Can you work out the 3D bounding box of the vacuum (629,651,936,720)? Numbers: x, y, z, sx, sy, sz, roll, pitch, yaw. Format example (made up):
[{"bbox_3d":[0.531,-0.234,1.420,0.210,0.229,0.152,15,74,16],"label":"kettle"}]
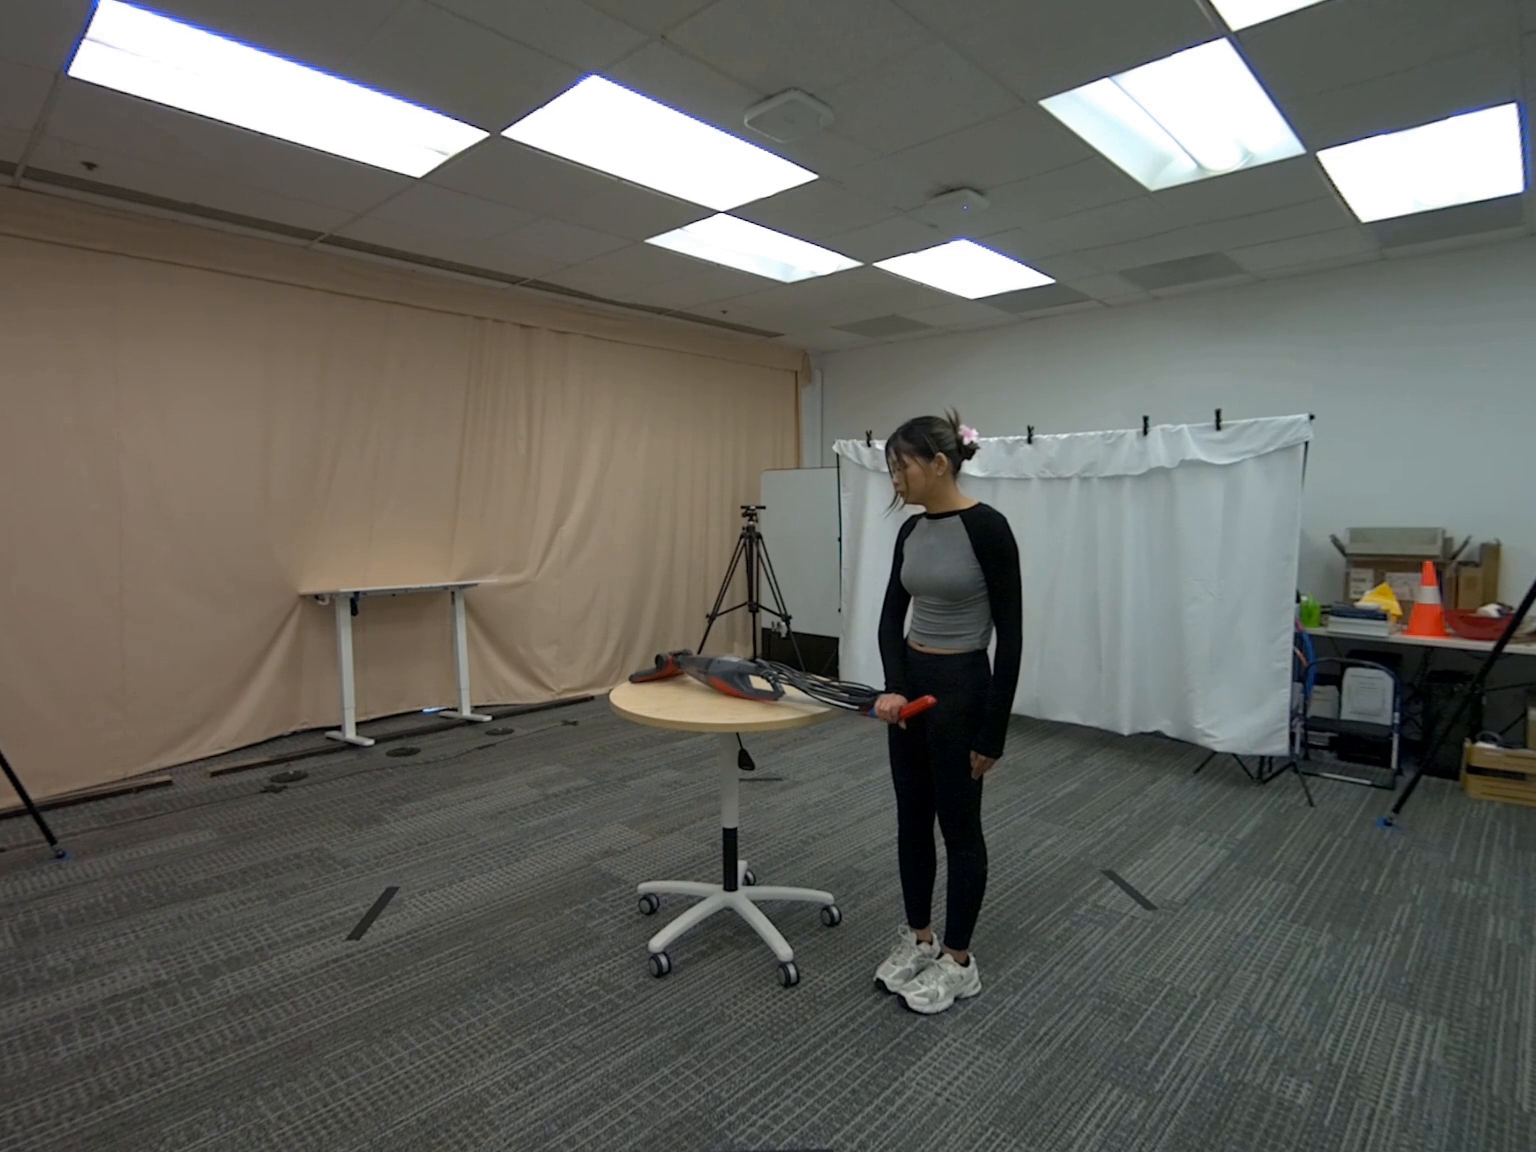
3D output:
[{"bbox_3d":[0.025,0.317,2.544,1.083,0.143,0.245,-1,6,44],"label":"vacuum"}]
